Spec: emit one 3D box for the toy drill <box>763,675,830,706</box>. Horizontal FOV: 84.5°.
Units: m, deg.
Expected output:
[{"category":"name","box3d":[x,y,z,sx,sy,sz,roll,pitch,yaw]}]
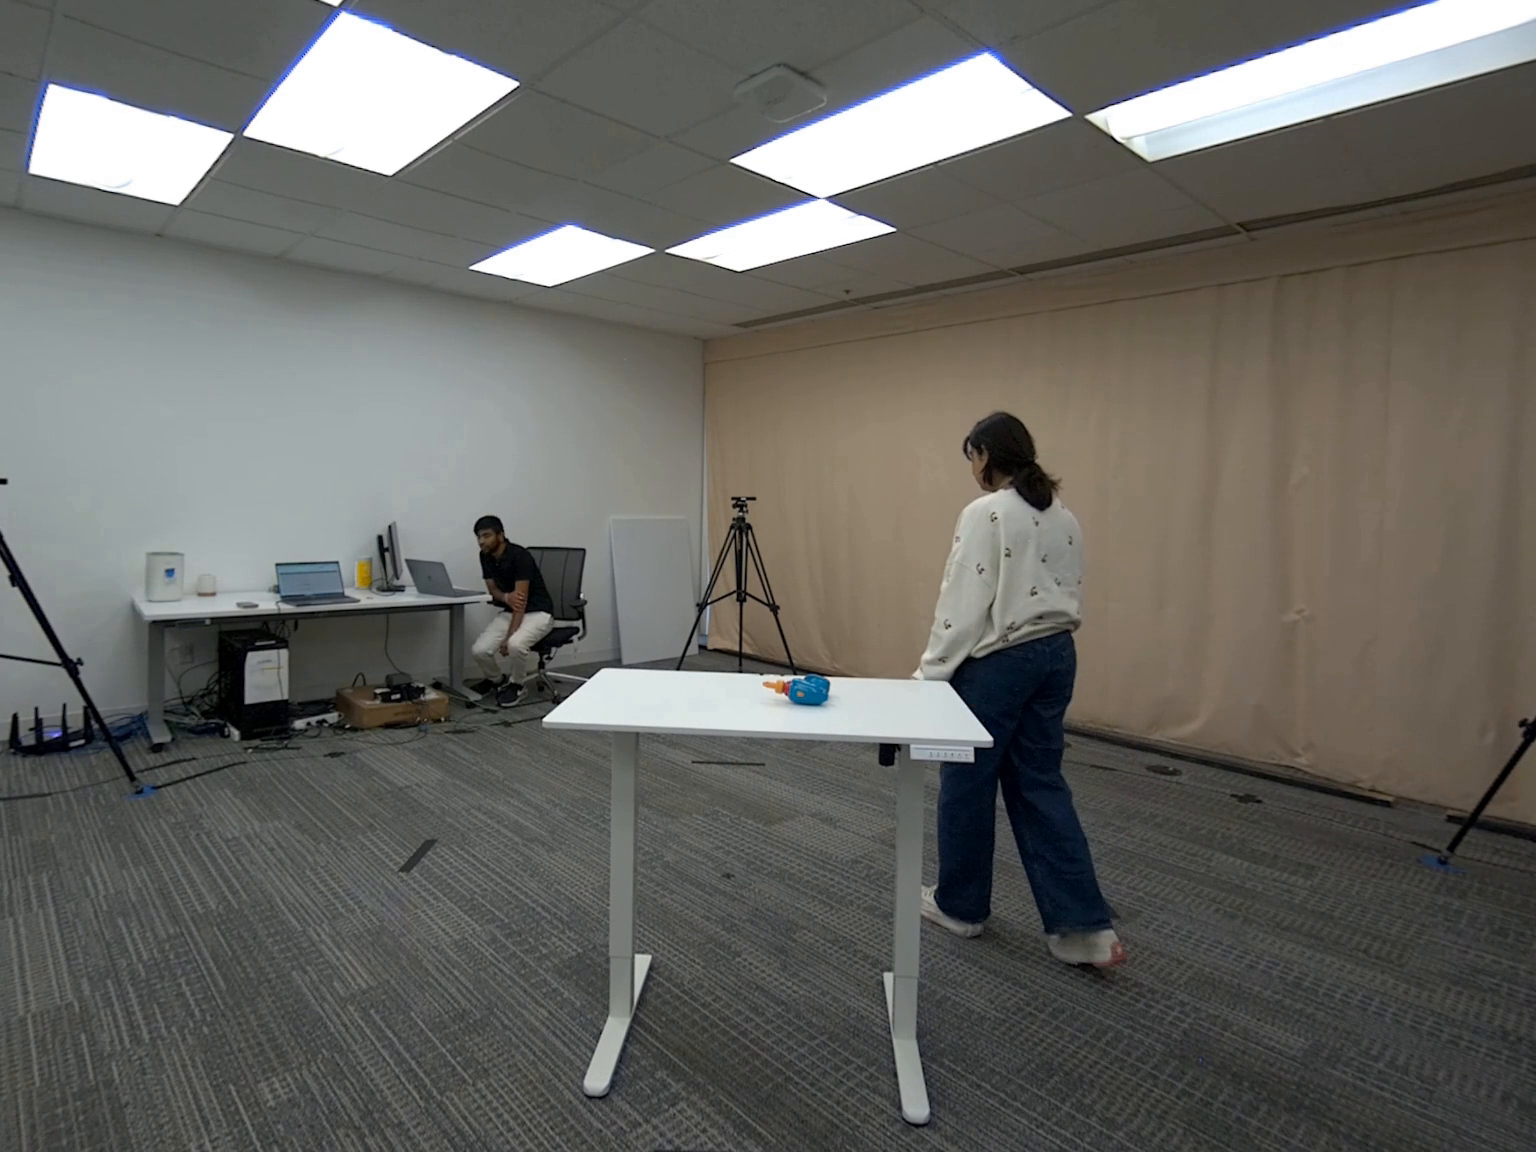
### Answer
[{"category":"toy drill","box3d":[0.060,0.287,2.144,0.172,0.061,0.144,9,7,14]}]
